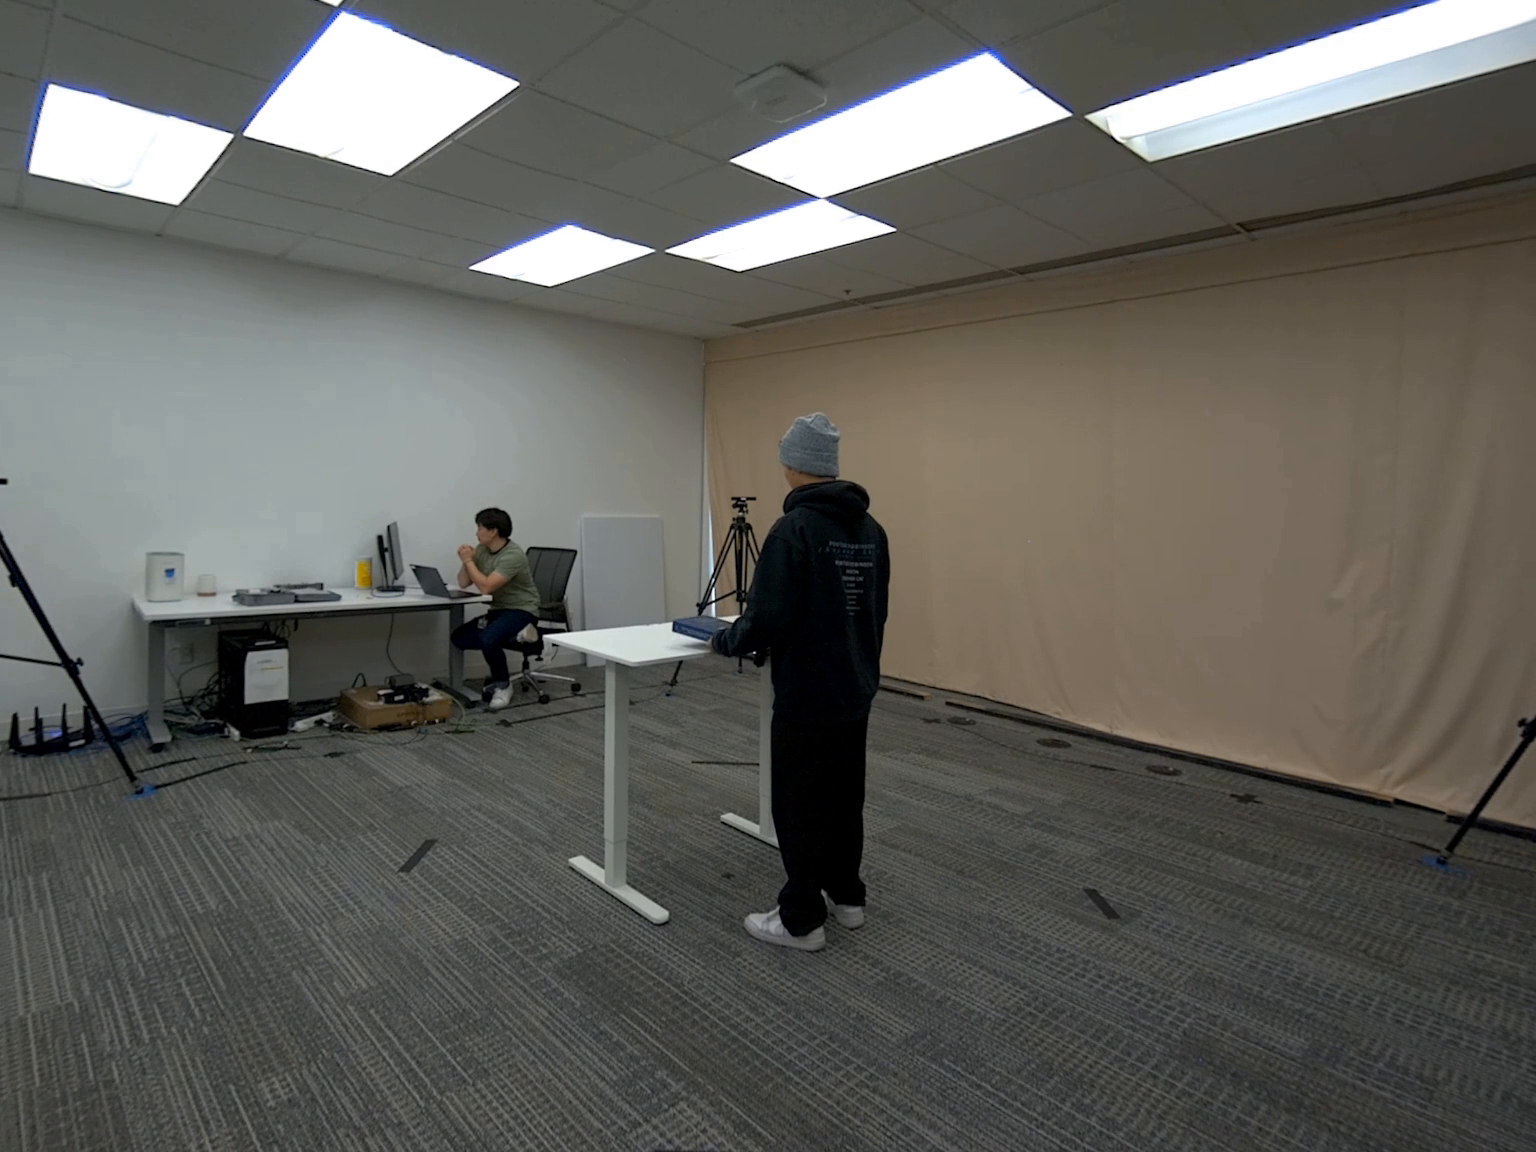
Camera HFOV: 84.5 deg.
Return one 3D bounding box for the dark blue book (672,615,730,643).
[{"bbox_3d":[-0.194,0.184,2.867,0.251,0.045,0.160,11,11,35],"label":"dark blue book"}]
